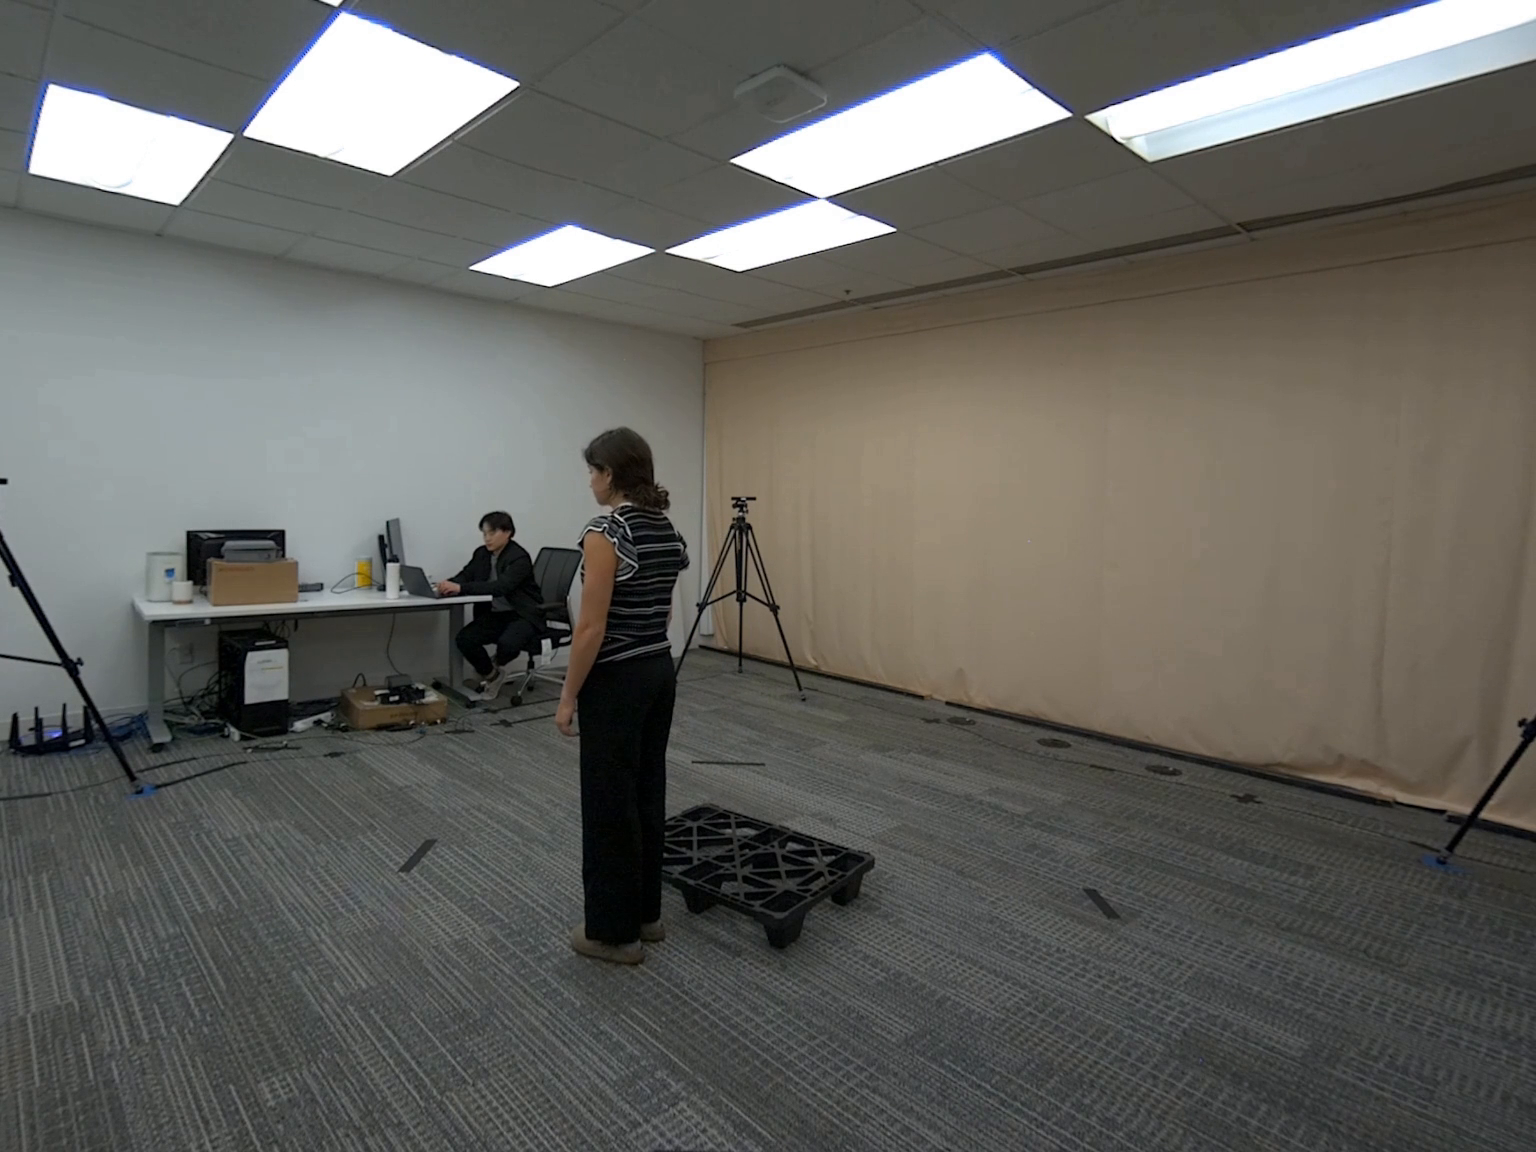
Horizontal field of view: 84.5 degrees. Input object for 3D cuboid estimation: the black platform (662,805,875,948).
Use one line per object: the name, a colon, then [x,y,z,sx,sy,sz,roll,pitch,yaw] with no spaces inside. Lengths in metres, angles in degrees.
black platform: [-0.117,1.050,3.001,0.825,0.143,0.592,5,7,37]
